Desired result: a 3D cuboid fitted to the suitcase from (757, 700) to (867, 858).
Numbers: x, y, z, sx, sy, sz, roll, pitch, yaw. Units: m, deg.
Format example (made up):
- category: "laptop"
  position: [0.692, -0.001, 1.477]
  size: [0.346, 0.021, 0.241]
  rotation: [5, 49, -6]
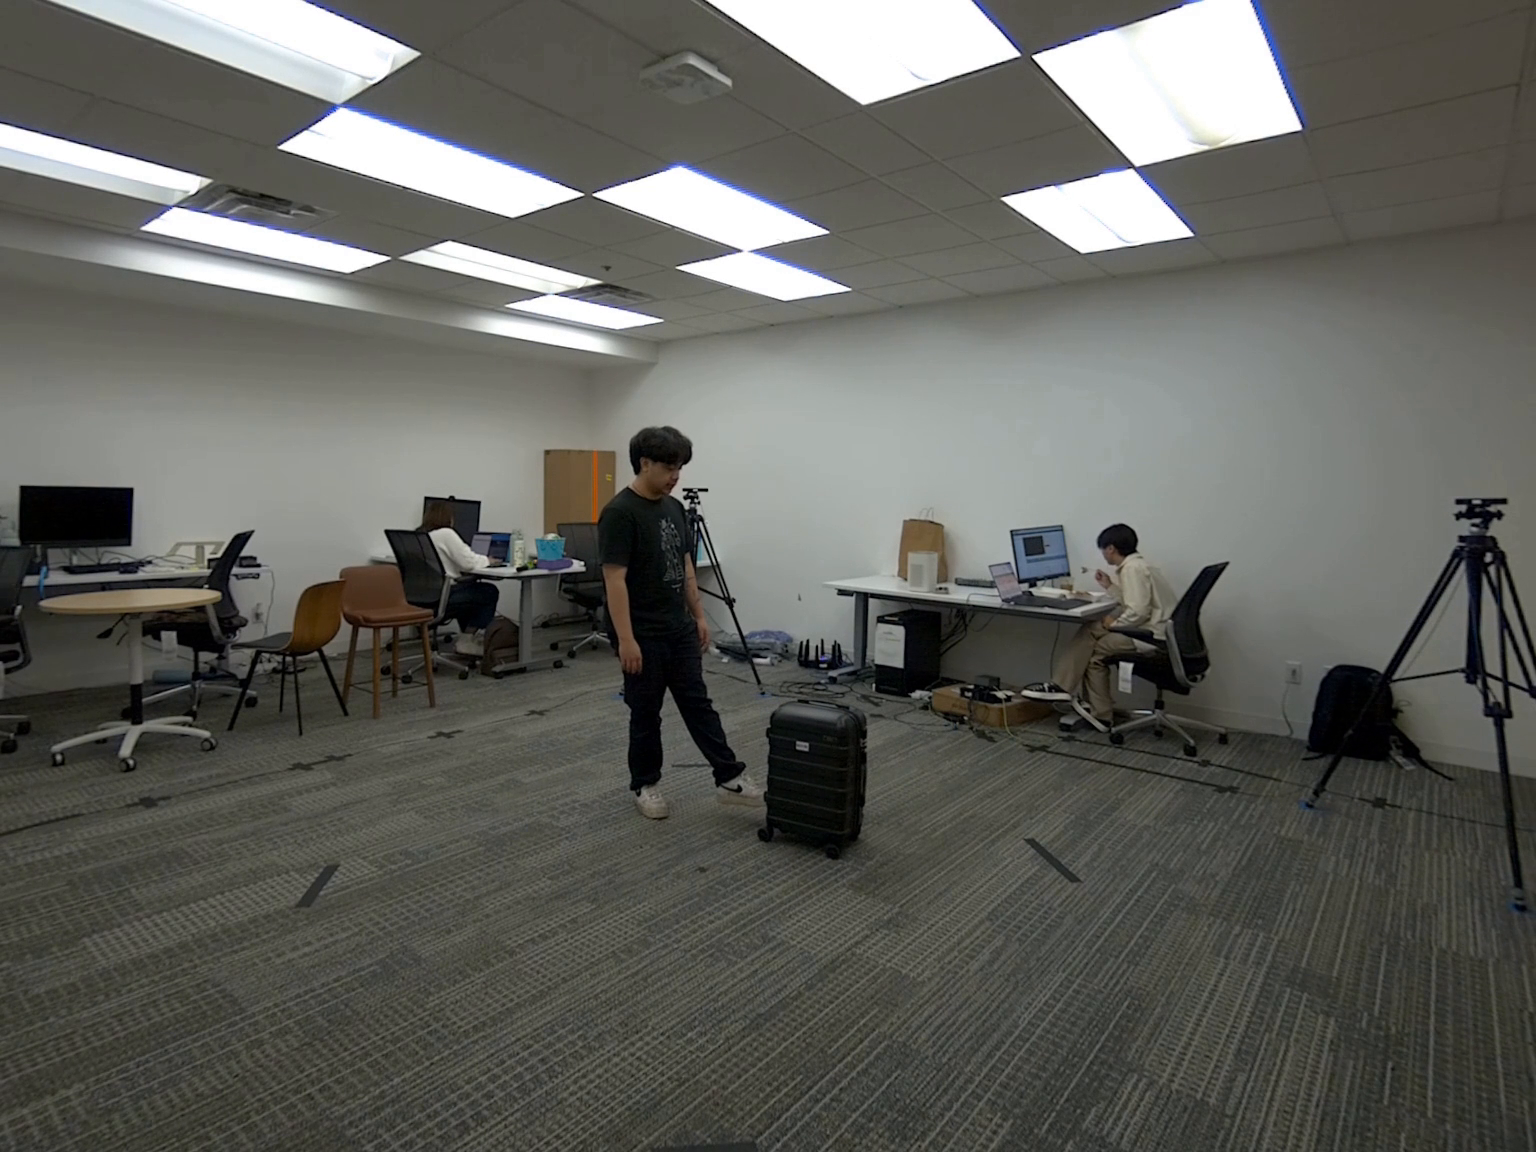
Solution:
- category: "suitcase"
  position: [0.187, 0.776, 3.380]
  size: [0.386, 0.547, 0.242]
  rotation: [5, 4, 27]
